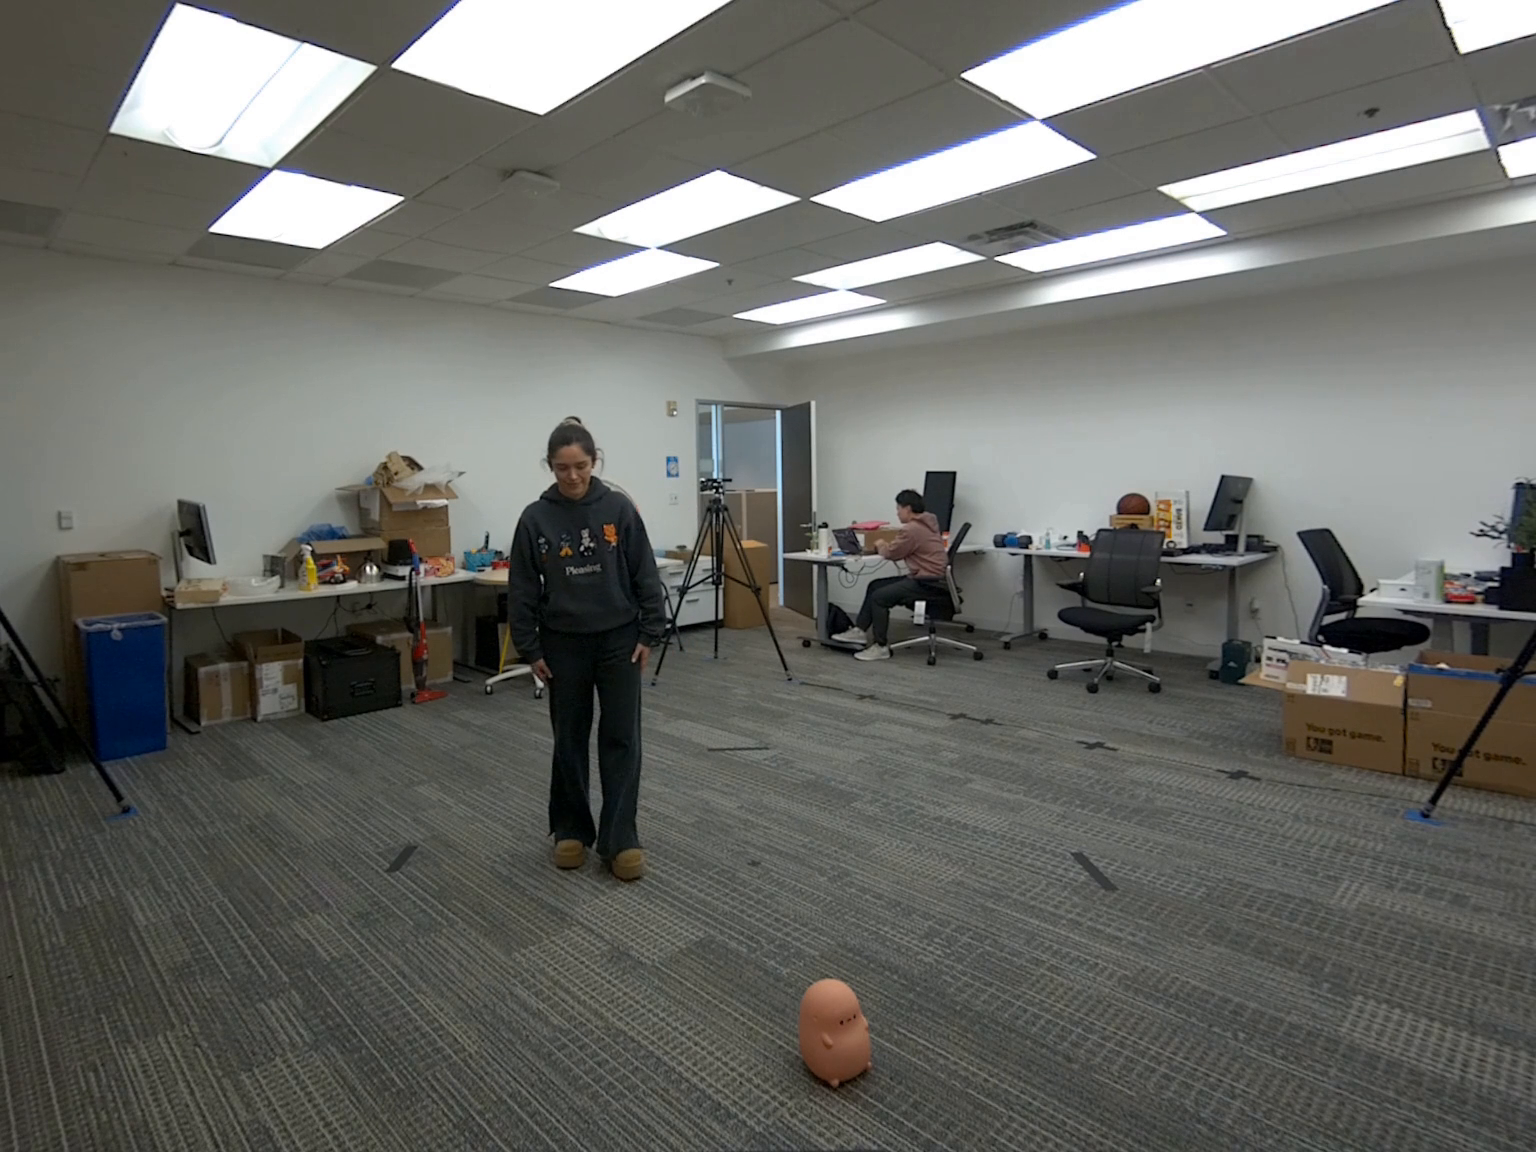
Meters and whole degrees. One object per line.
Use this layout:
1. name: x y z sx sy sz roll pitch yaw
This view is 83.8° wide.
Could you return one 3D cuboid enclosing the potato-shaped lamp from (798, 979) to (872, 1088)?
1. potato-shaped lamp: 0.163 1.068 2.017 0.161 0.198 0.176 -6 3 -34
